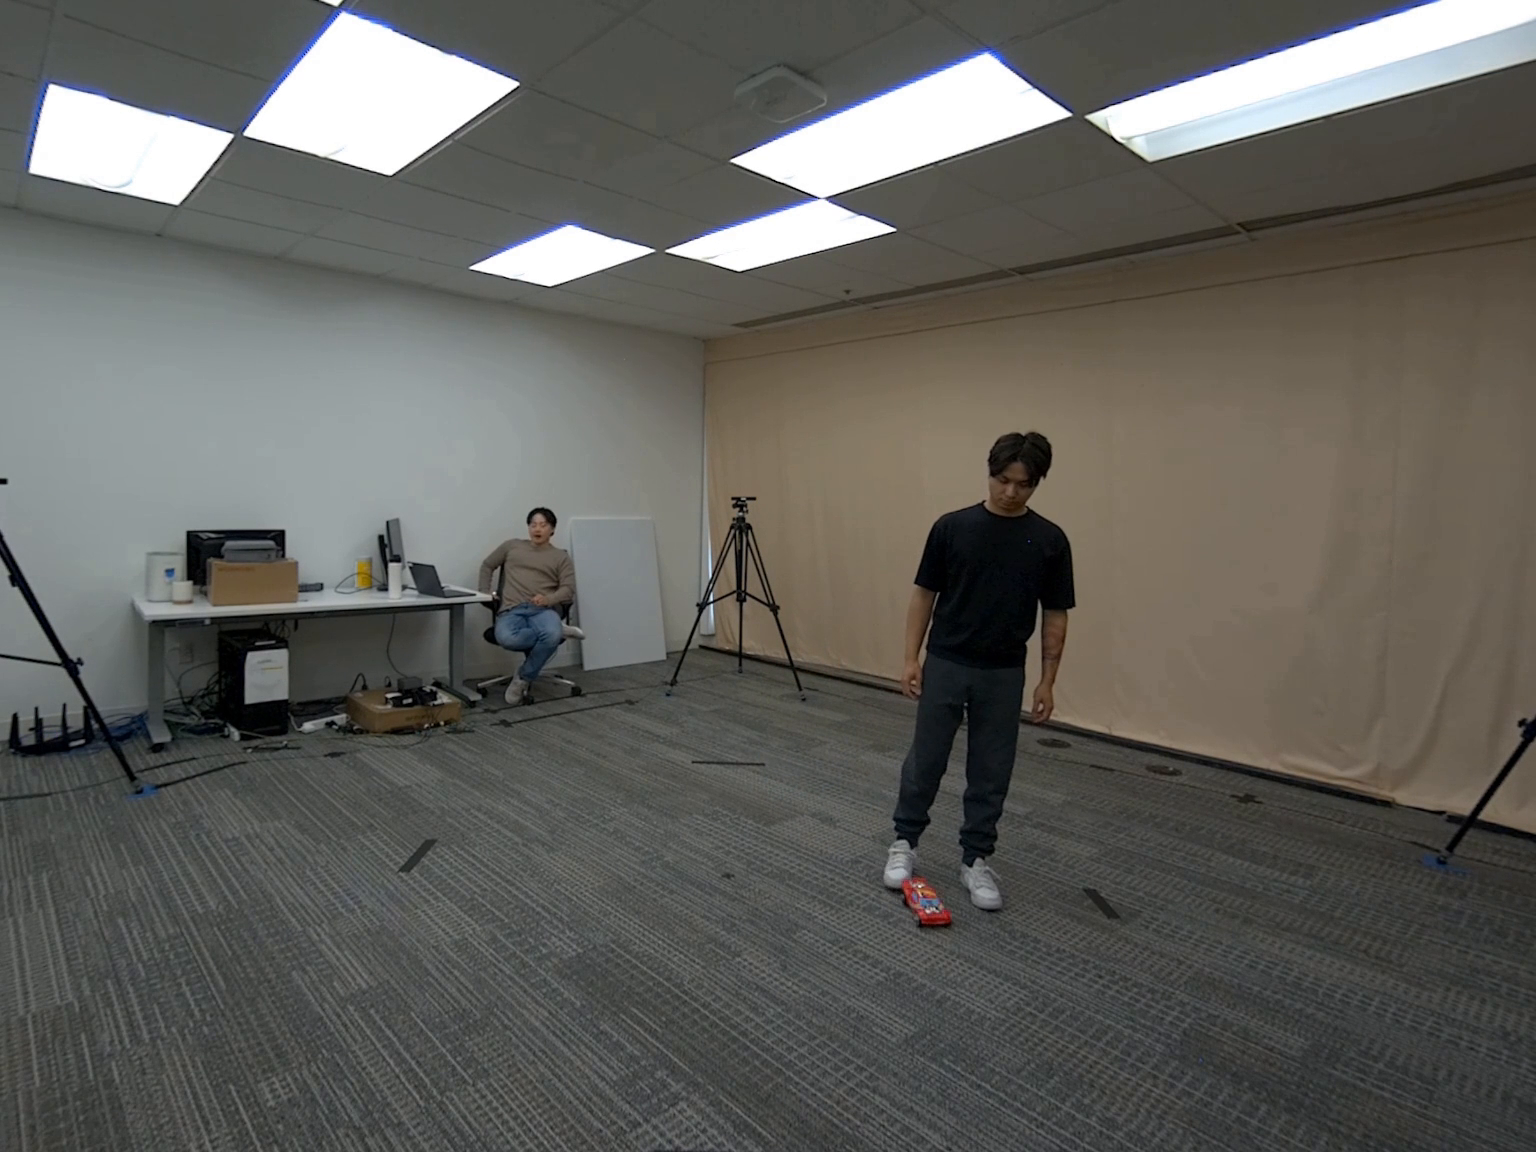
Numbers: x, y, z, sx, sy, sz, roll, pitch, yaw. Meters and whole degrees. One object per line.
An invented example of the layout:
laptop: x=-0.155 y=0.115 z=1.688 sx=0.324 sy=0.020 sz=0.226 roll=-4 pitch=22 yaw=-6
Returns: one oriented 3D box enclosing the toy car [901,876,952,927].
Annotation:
toy car: x=0.527 y=1.114 z=2.864 sx=0.129 sy=0.082 sz=0.258 roll=0 pitch=16 yaw=-7
